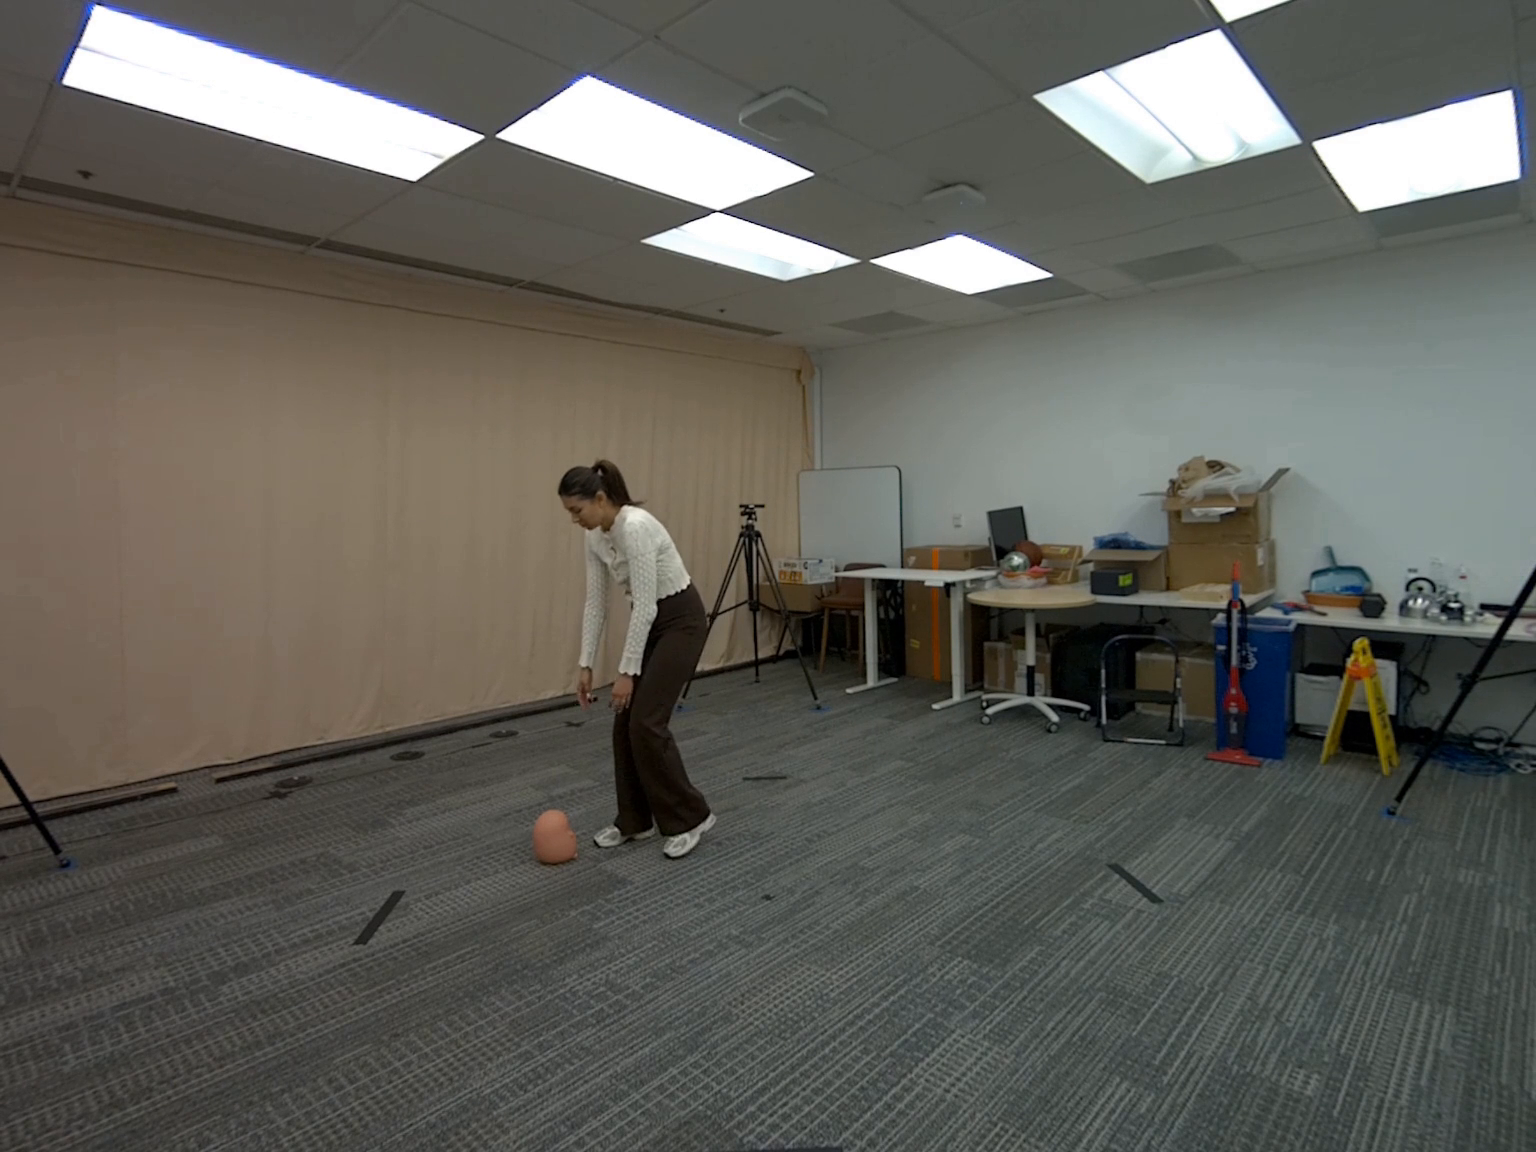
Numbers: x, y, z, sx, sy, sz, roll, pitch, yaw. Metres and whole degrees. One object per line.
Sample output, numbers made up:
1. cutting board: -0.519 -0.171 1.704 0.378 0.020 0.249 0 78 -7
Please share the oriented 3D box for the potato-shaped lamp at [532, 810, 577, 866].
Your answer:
1. potato-shaped lamp: -0.846 1.028 3.345 0.166 0.197 0.170 -3 6 -35
